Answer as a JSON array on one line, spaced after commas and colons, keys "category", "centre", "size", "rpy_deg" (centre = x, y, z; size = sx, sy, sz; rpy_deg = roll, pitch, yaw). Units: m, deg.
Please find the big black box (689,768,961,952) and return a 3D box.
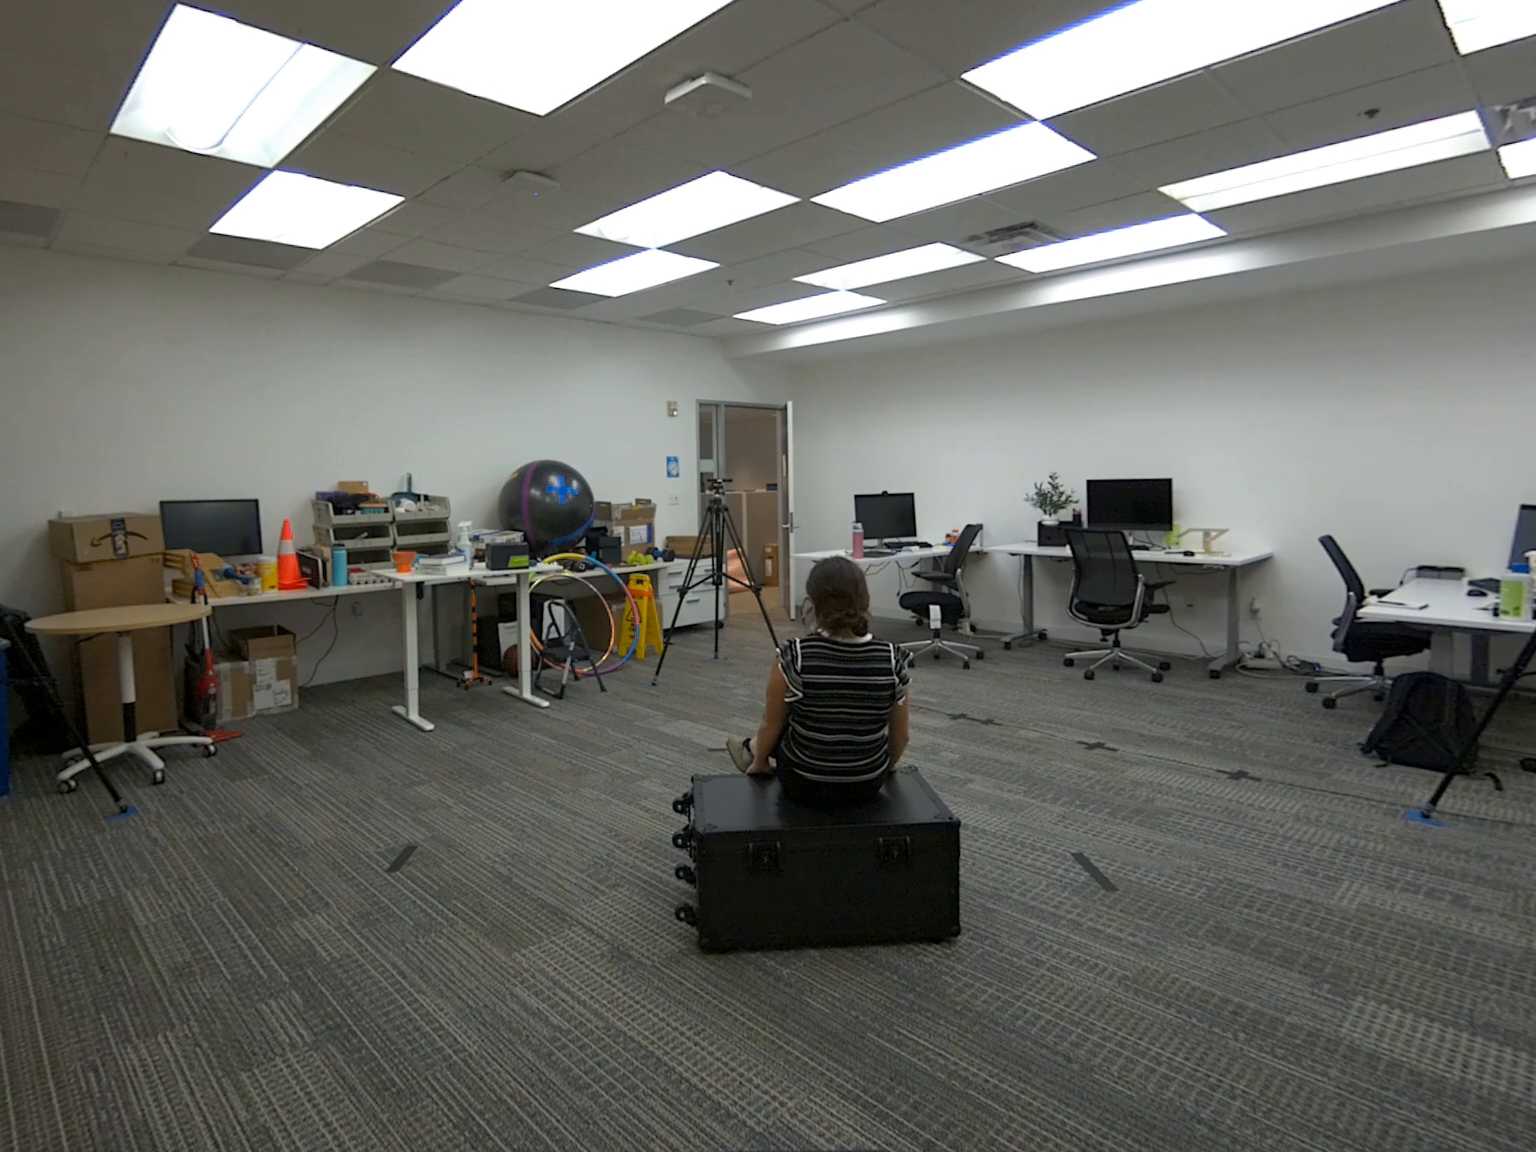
[{"category": "big black box", "centre": [0.123, 0.890, 2.752], "size": [0.858, 0.395, 0.526], "rpy_deg": [-1, 5, -5]}]
